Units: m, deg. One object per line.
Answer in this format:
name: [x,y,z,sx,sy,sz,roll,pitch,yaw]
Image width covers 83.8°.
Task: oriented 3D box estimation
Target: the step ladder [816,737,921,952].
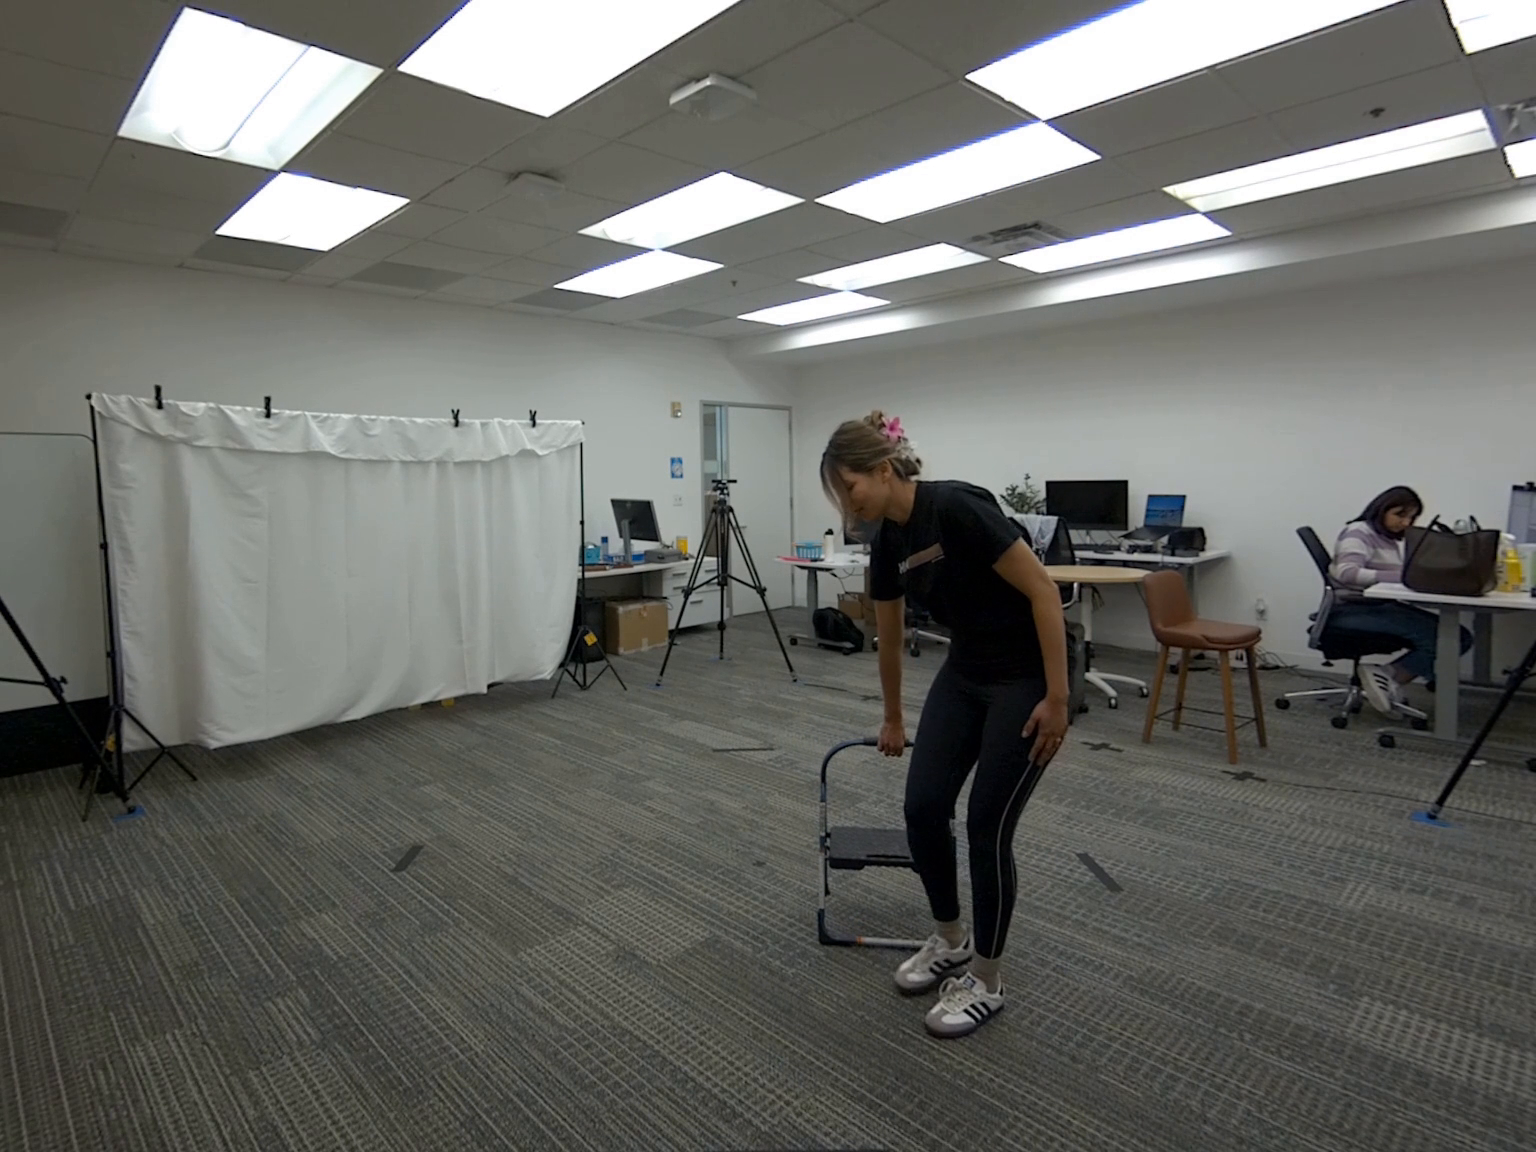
step ladder: [0.371,0.792,2.676,0.434,0.604,0.348,0,4,7]
